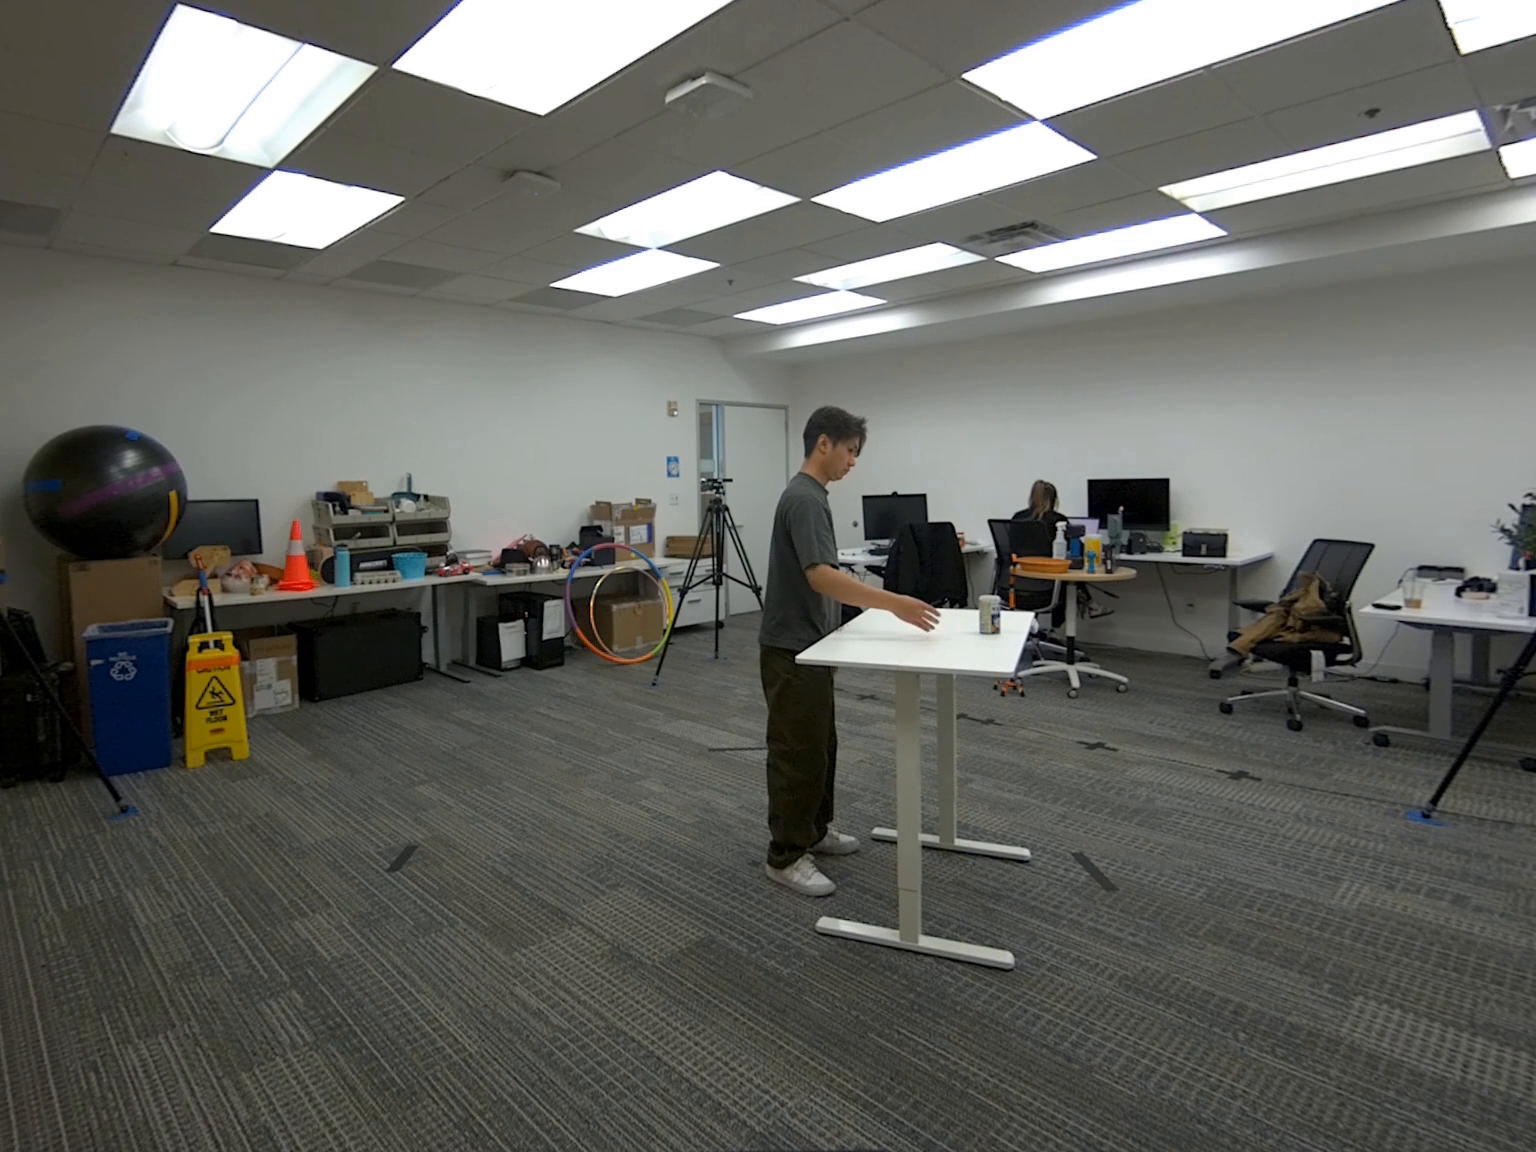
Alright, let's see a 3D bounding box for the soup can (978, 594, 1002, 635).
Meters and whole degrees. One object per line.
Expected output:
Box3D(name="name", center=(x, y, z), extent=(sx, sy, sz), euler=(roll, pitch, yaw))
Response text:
Box3D(name="soup can", center=(0.720, 0.127, 2.772), extent=(0.067, 0.121, 0.067), euler=(2, 2, -2))
